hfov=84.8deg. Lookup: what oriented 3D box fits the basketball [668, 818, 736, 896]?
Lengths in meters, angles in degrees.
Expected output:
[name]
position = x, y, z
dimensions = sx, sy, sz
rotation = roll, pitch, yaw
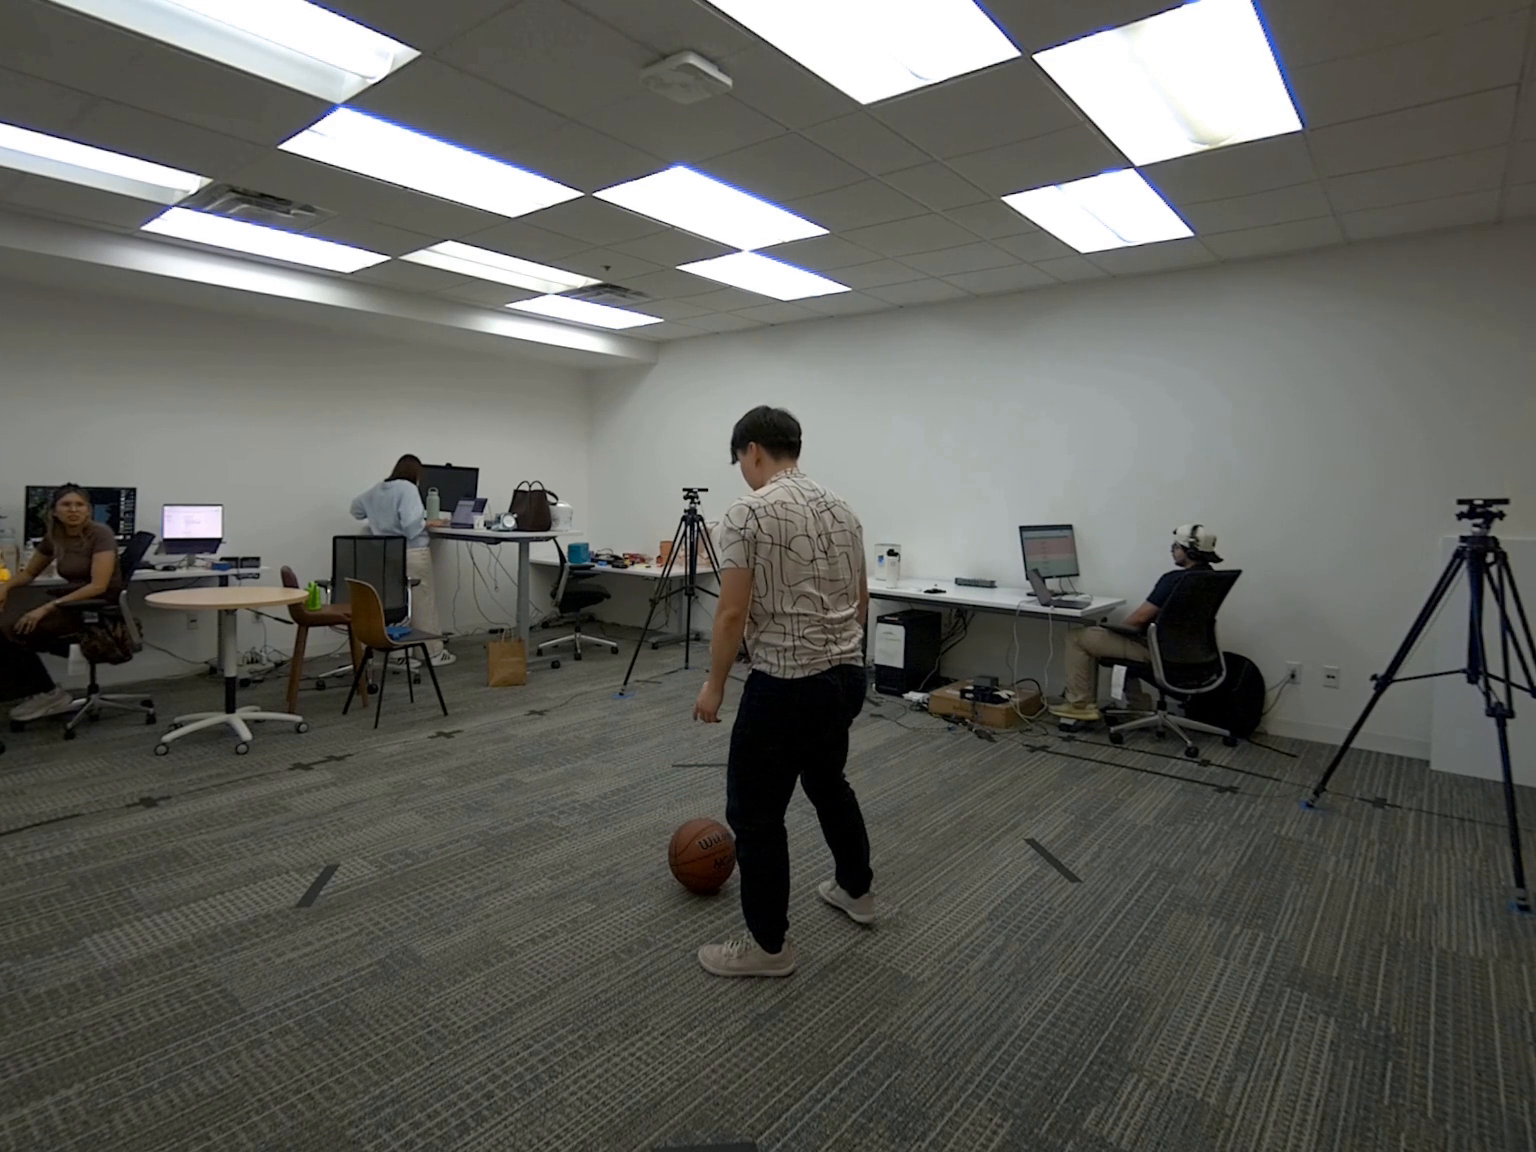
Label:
[basketball]
position = -0.235, 0.961, 2.959
dimensions = 0.235, 0.235, 0.237
rotation = 1, 4, -2
